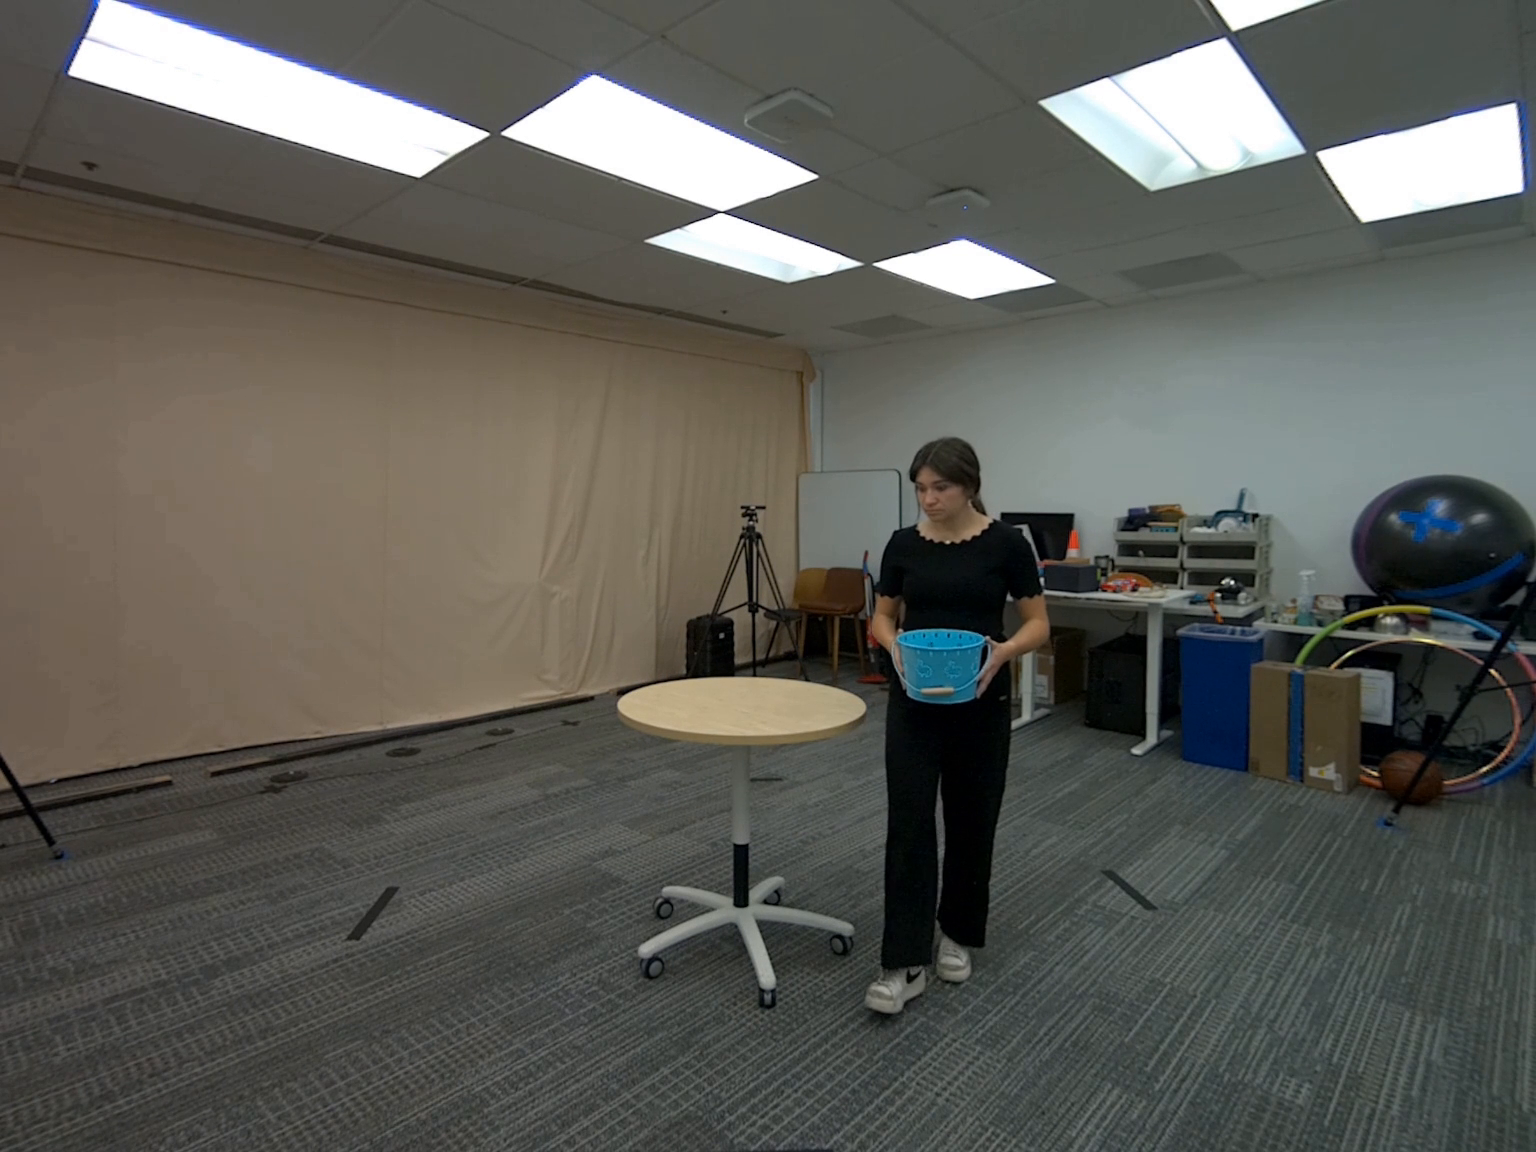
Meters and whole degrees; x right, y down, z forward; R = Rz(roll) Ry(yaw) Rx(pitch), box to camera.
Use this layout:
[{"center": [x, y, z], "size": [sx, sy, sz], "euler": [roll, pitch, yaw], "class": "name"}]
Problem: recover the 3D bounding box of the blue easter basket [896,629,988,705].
[{"center": [0.466, 0.248, 2.251], "size": [0.243, 0.155, 0.245], "euler": [-1, 6, -2], "class": "blue easter basket"}]
